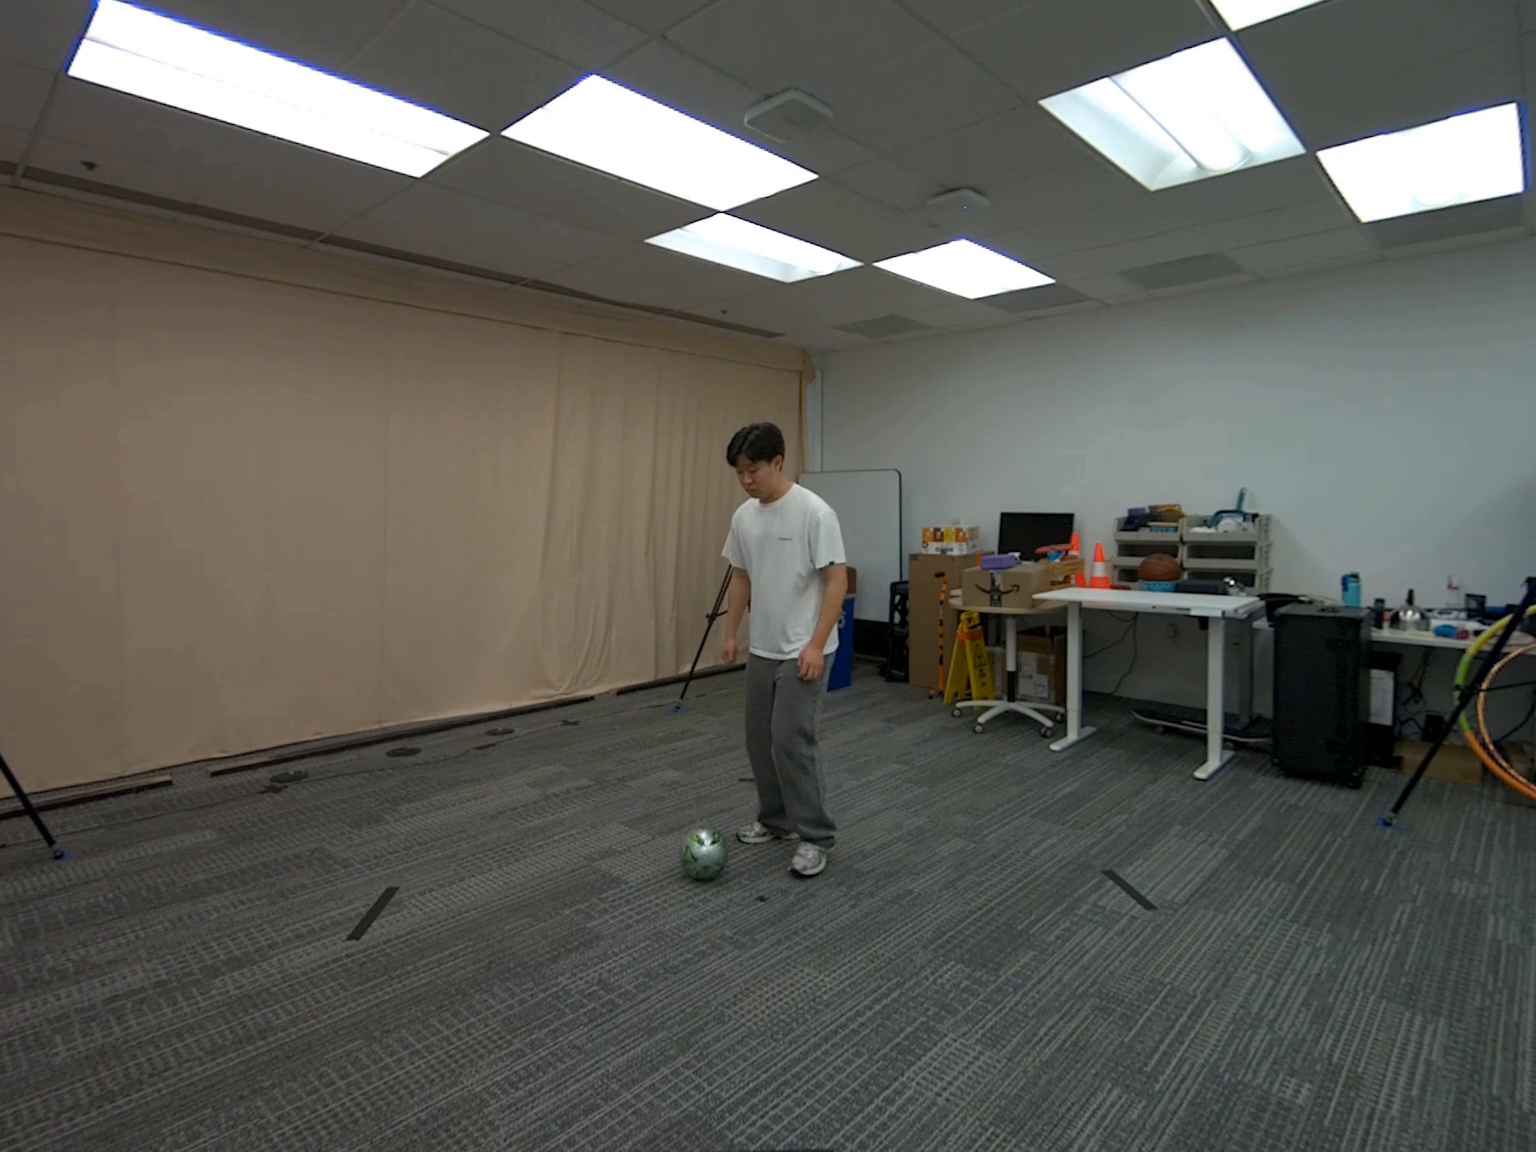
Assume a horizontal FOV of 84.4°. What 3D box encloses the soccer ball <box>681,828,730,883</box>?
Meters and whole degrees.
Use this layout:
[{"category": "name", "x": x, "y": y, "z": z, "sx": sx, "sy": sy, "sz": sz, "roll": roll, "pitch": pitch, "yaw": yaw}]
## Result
[{"category": "soccer ball", "x": -0.233, "y": 1.040, "z": 3.153, "sx": 0.187, "sy": 0.187, "sz": 0.188, "roll": 0, "pitch": 4, "yaw": -2}]
